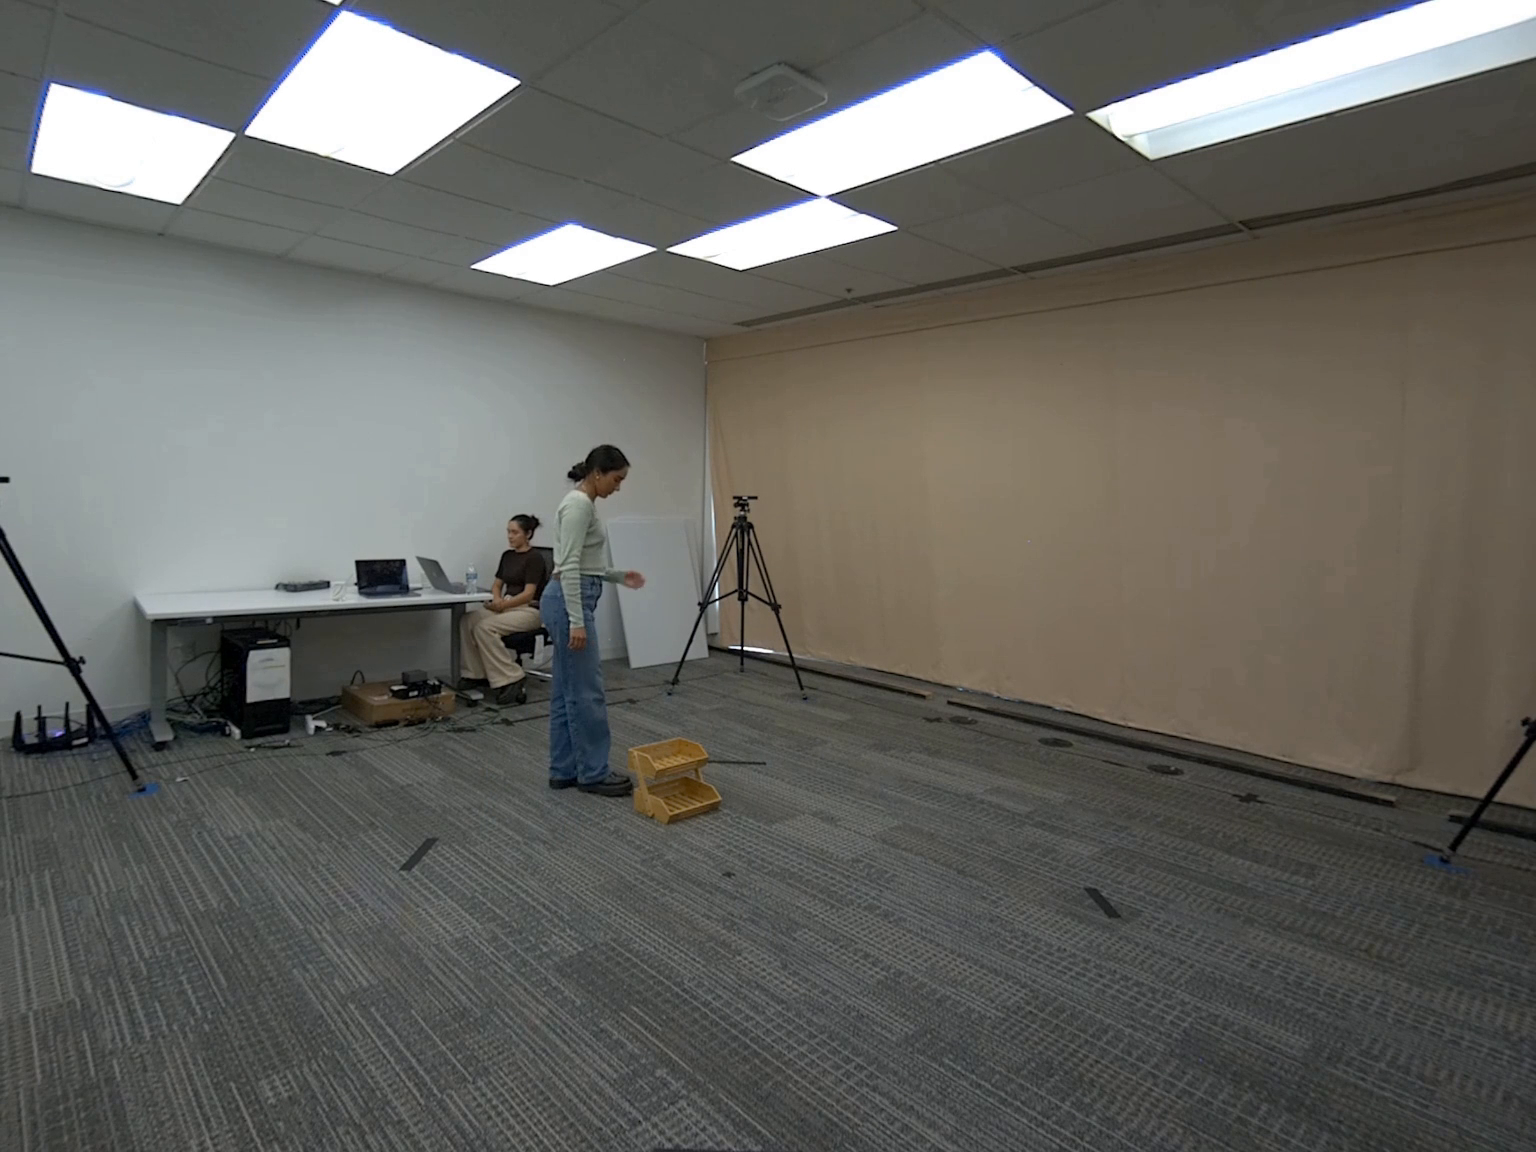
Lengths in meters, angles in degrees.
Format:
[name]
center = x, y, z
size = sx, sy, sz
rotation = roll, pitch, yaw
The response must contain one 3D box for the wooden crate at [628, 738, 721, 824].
[wooden crate]
center = -0.425, 0.903, 3.761
size = 0.317, 0.273, 0.310
rotation = -3, 5, -45
